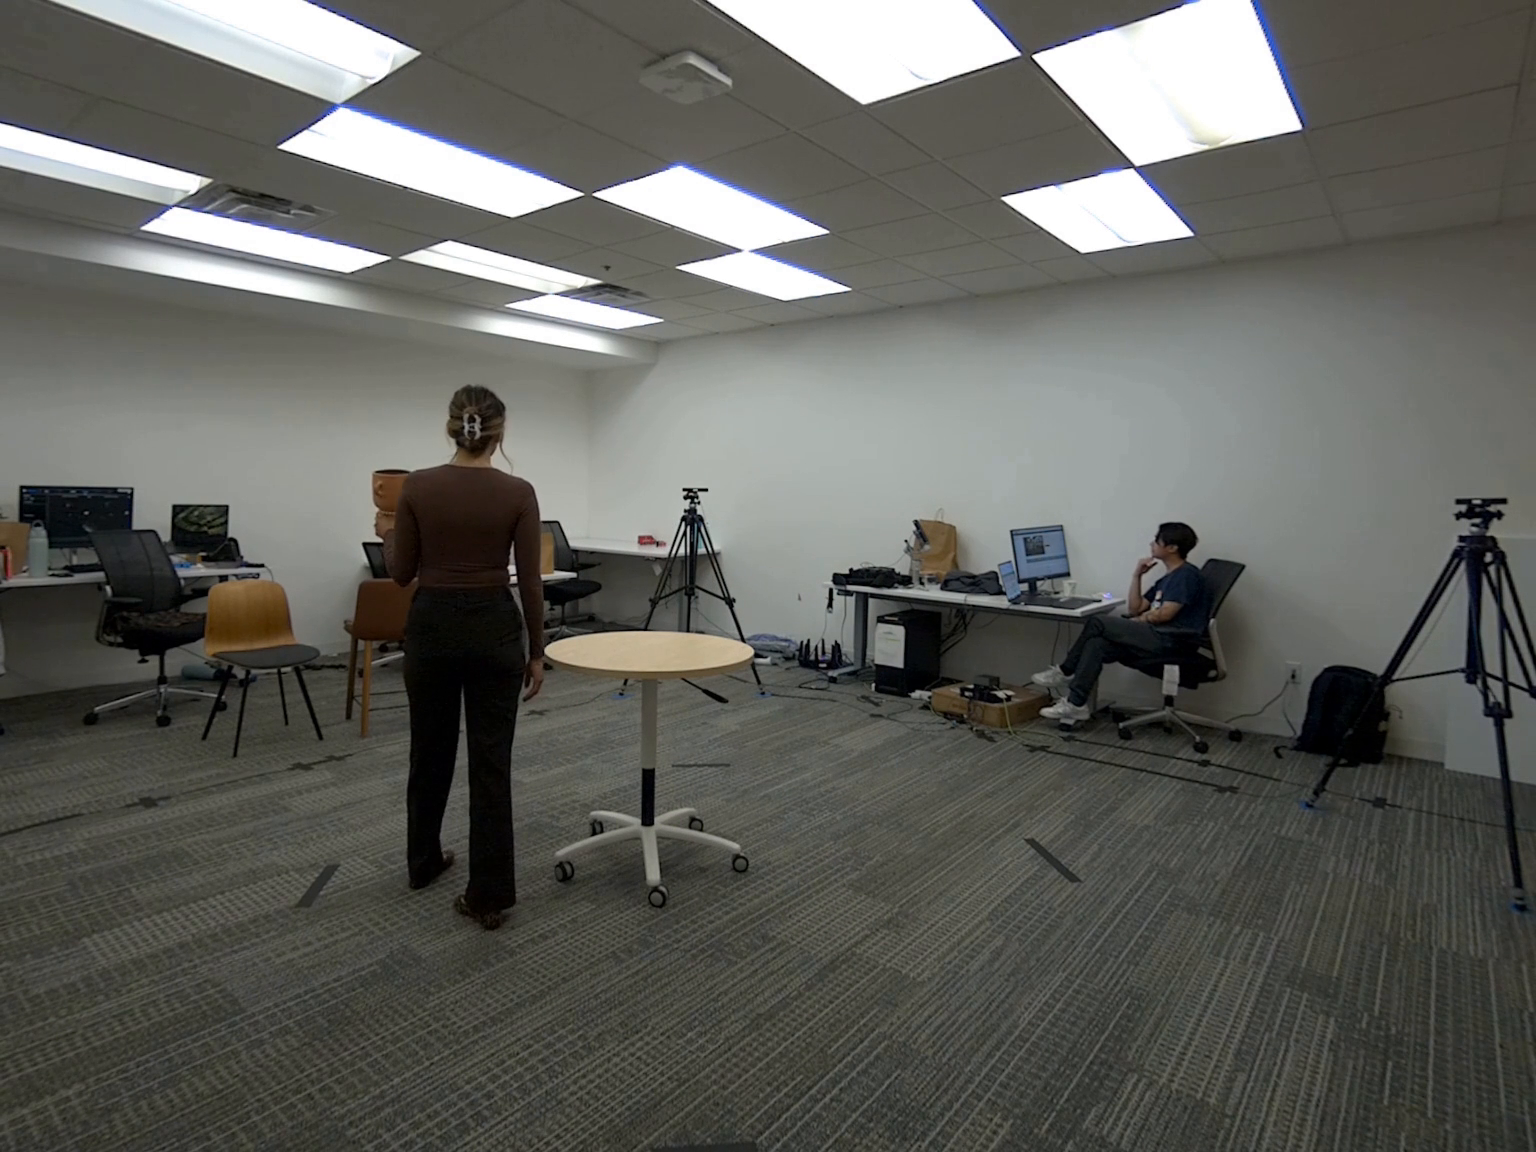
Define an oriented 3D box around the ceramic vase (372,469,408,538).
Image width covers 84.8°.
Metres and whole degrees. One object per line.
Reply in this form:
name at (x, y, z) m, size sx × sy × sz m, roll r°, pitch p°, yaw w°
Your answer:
ceramic vase at (-1.318, -0.258, 2.973) m, size 0.154 × 0.218 × 0.140 m, roll -4°, pitch 14°, yaw -38°
